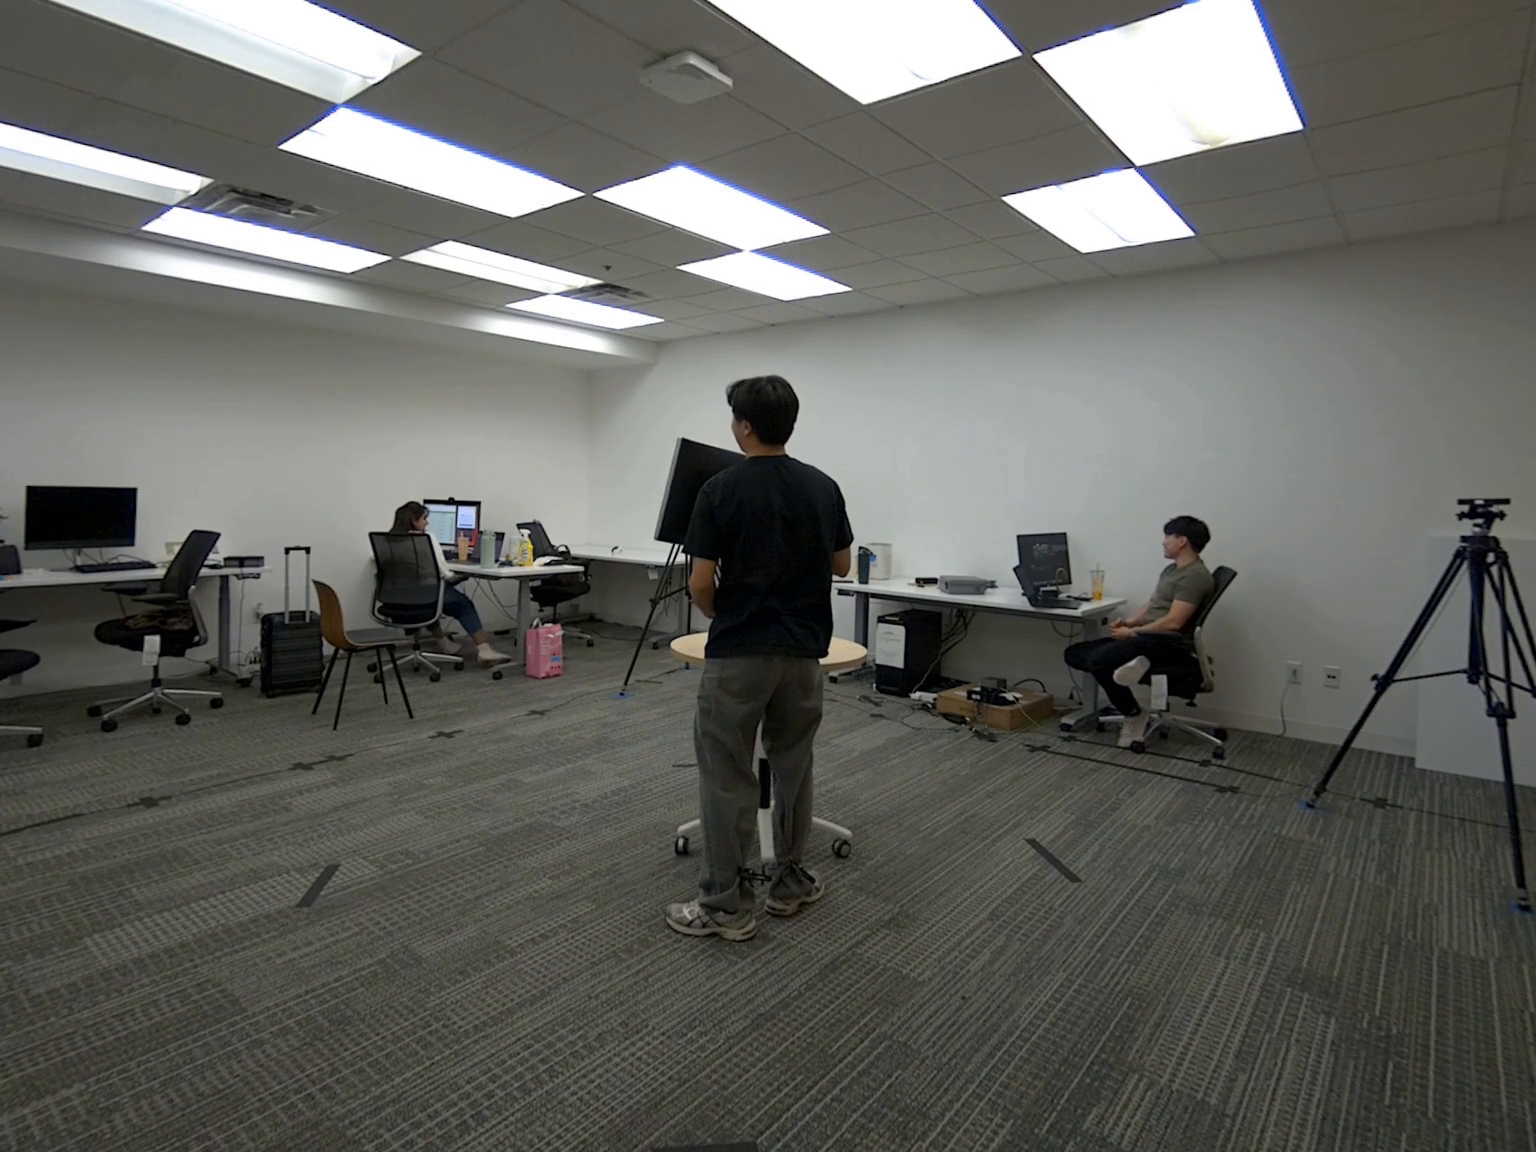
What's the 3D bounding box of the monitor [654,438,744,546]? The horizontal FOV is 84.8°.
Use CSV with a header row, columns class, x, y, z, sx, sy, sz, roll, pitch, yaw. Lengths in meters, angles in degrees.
class,x,y,z,sx,sy,sz,roll,pitch,yaw
monitor,-0.117,-0.153,2.967,0.546,0.570,0.227,11,-10,-26
